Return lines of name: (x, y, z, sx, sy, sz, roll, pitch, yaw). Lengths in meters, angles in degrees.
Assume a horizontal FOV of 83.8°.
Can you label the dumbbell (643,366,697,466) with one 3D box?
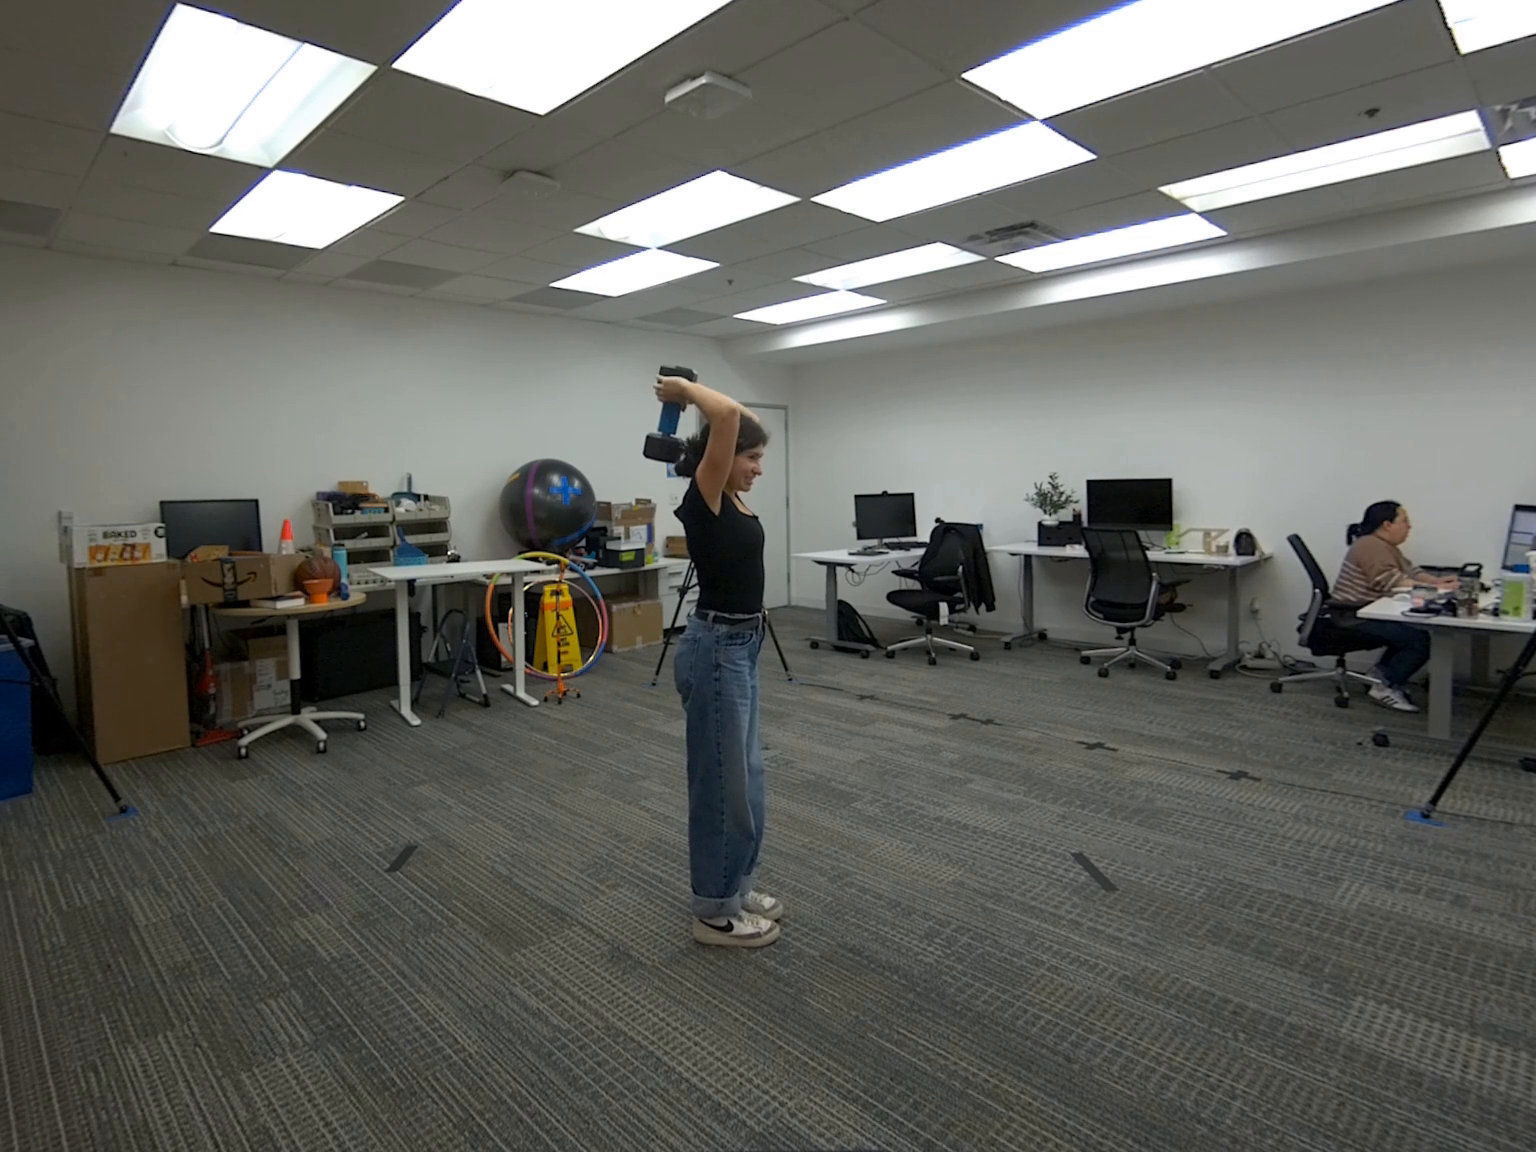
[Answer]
dumbbell: (-0.290, -0.497, 2.610, 0.127, 0.292, 0.105, 18, 9, 38)
